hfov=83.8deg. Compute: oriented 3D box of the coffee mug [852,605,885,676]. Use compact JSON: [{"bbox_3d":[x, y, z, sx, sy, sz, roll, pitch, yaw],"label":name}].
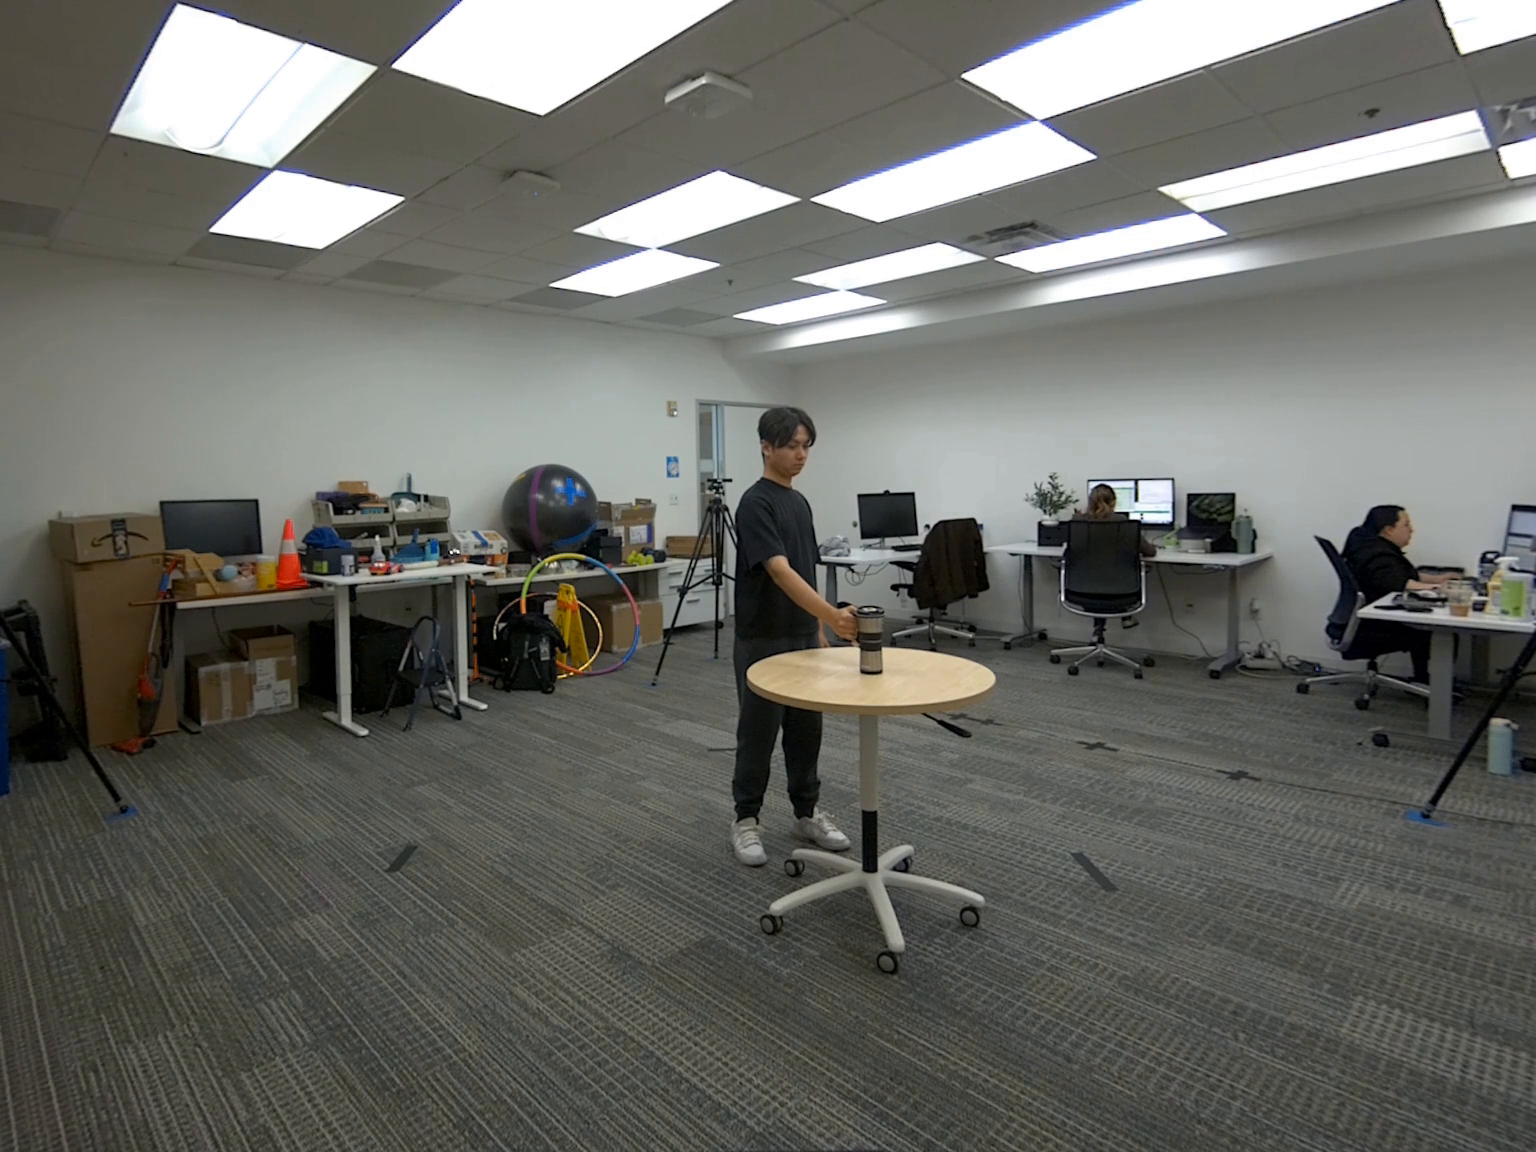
[{"bbox_3d":[0.320,0.202,2.699,0.086,0.201,0.125,-9,10,-29],"label":"coffee mug"}]
